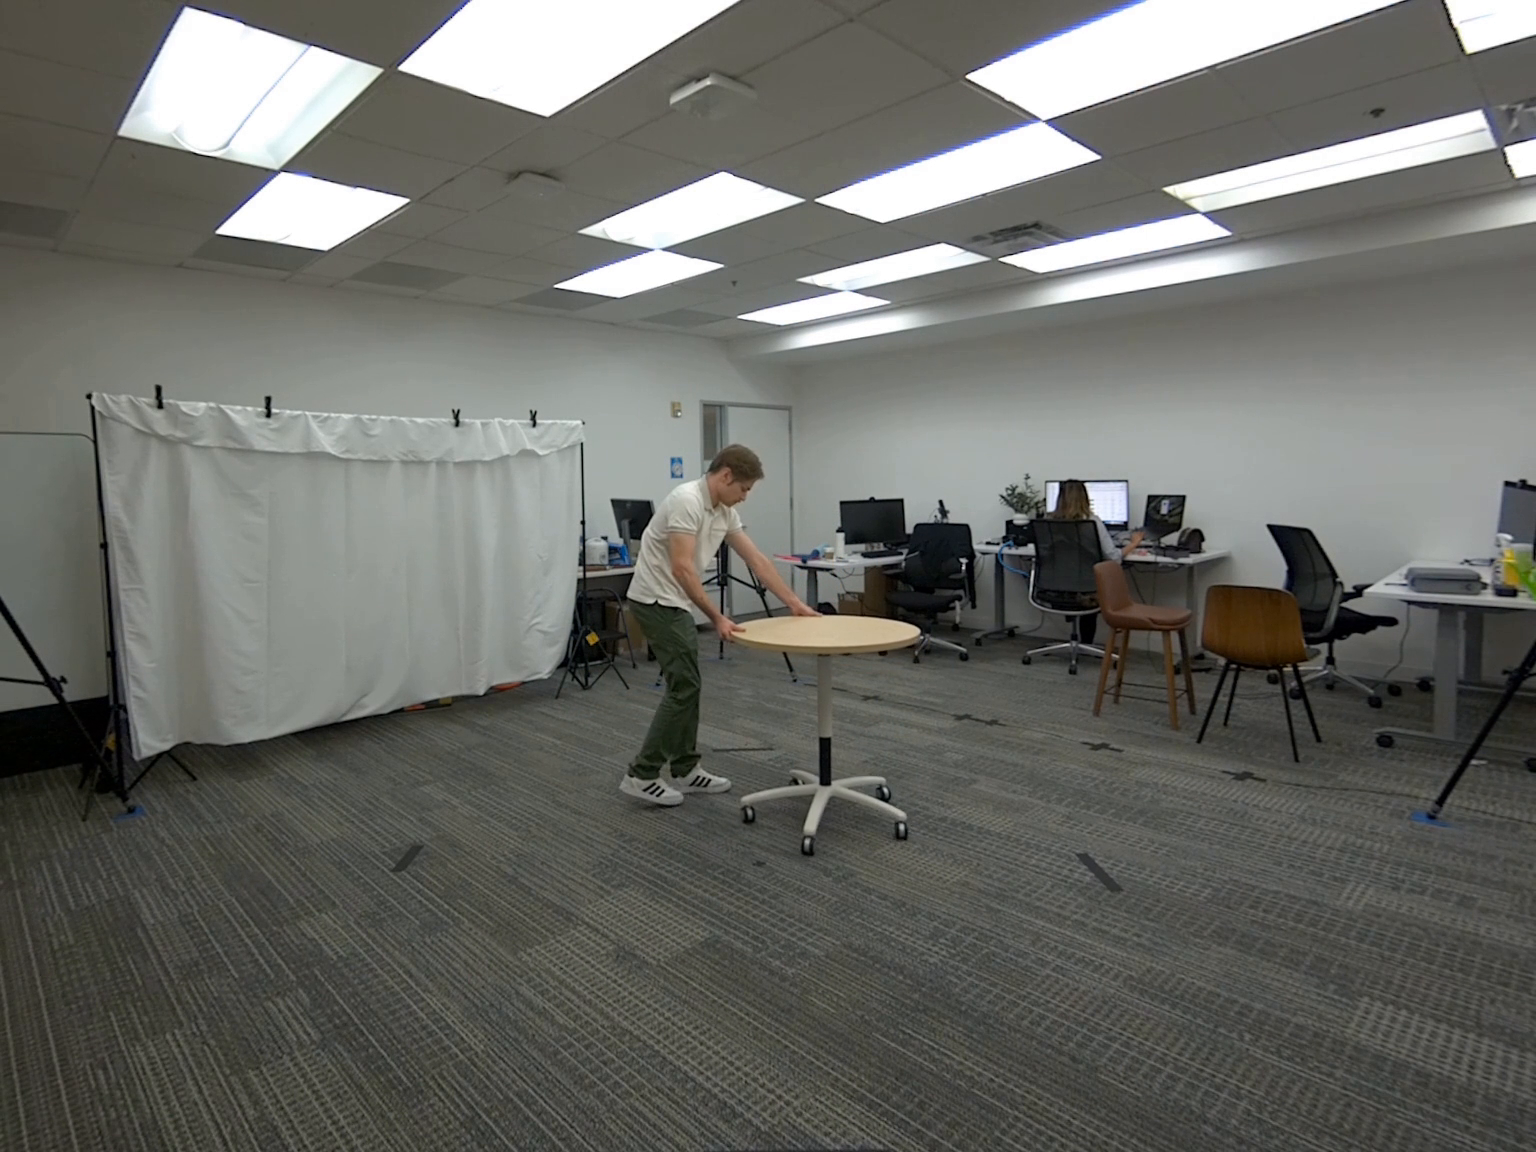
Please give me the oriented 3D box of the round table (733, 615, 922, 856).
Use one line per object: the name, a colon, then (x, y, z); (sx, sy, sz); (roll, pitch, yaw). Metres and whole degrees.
round table: (0.217, 0.605, 3.497); (0.784, 0.784, 0.789); (-1, 5, -2)
